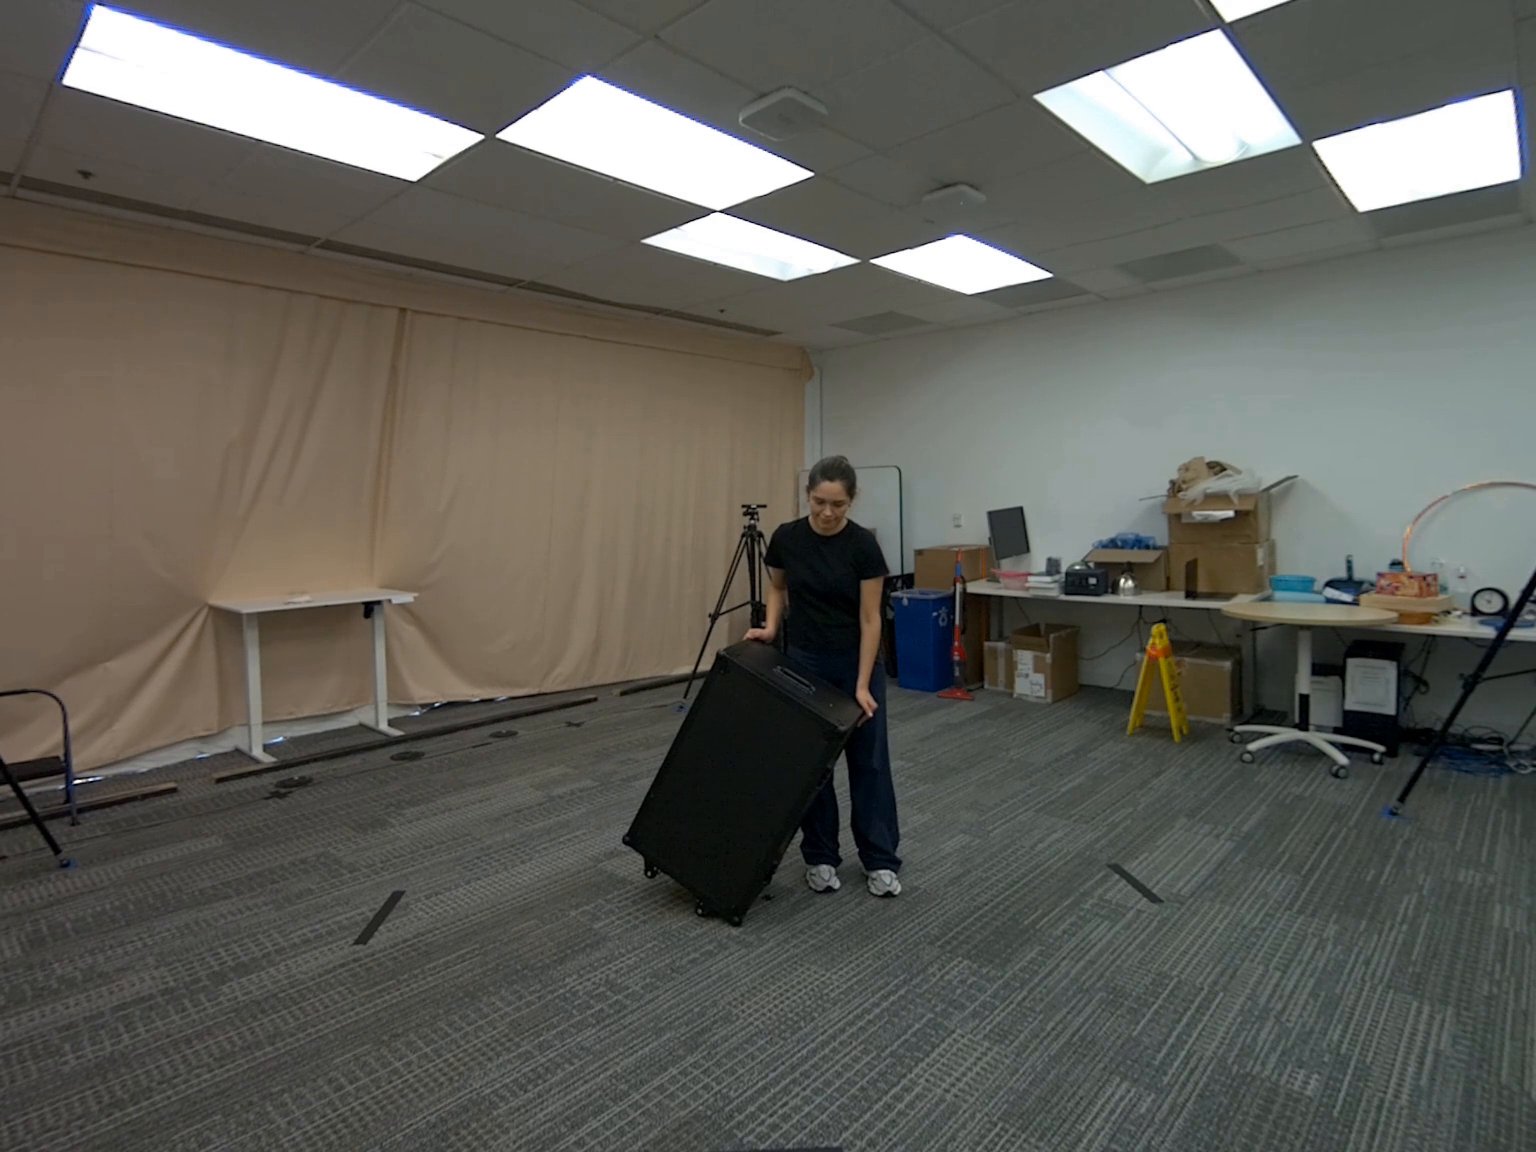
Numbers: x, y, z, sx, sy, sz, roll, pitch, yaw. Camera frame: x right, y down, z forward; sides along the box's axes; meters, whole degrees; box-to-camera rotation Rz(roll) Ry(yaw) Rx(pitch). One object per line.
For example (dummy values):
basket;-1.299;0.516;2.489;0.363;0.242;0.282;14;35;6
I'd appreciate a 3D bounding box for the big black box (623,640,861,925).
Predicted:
big black box;-0.080;0.713;2.944;0.532;0.860;0.389;31;12;16
